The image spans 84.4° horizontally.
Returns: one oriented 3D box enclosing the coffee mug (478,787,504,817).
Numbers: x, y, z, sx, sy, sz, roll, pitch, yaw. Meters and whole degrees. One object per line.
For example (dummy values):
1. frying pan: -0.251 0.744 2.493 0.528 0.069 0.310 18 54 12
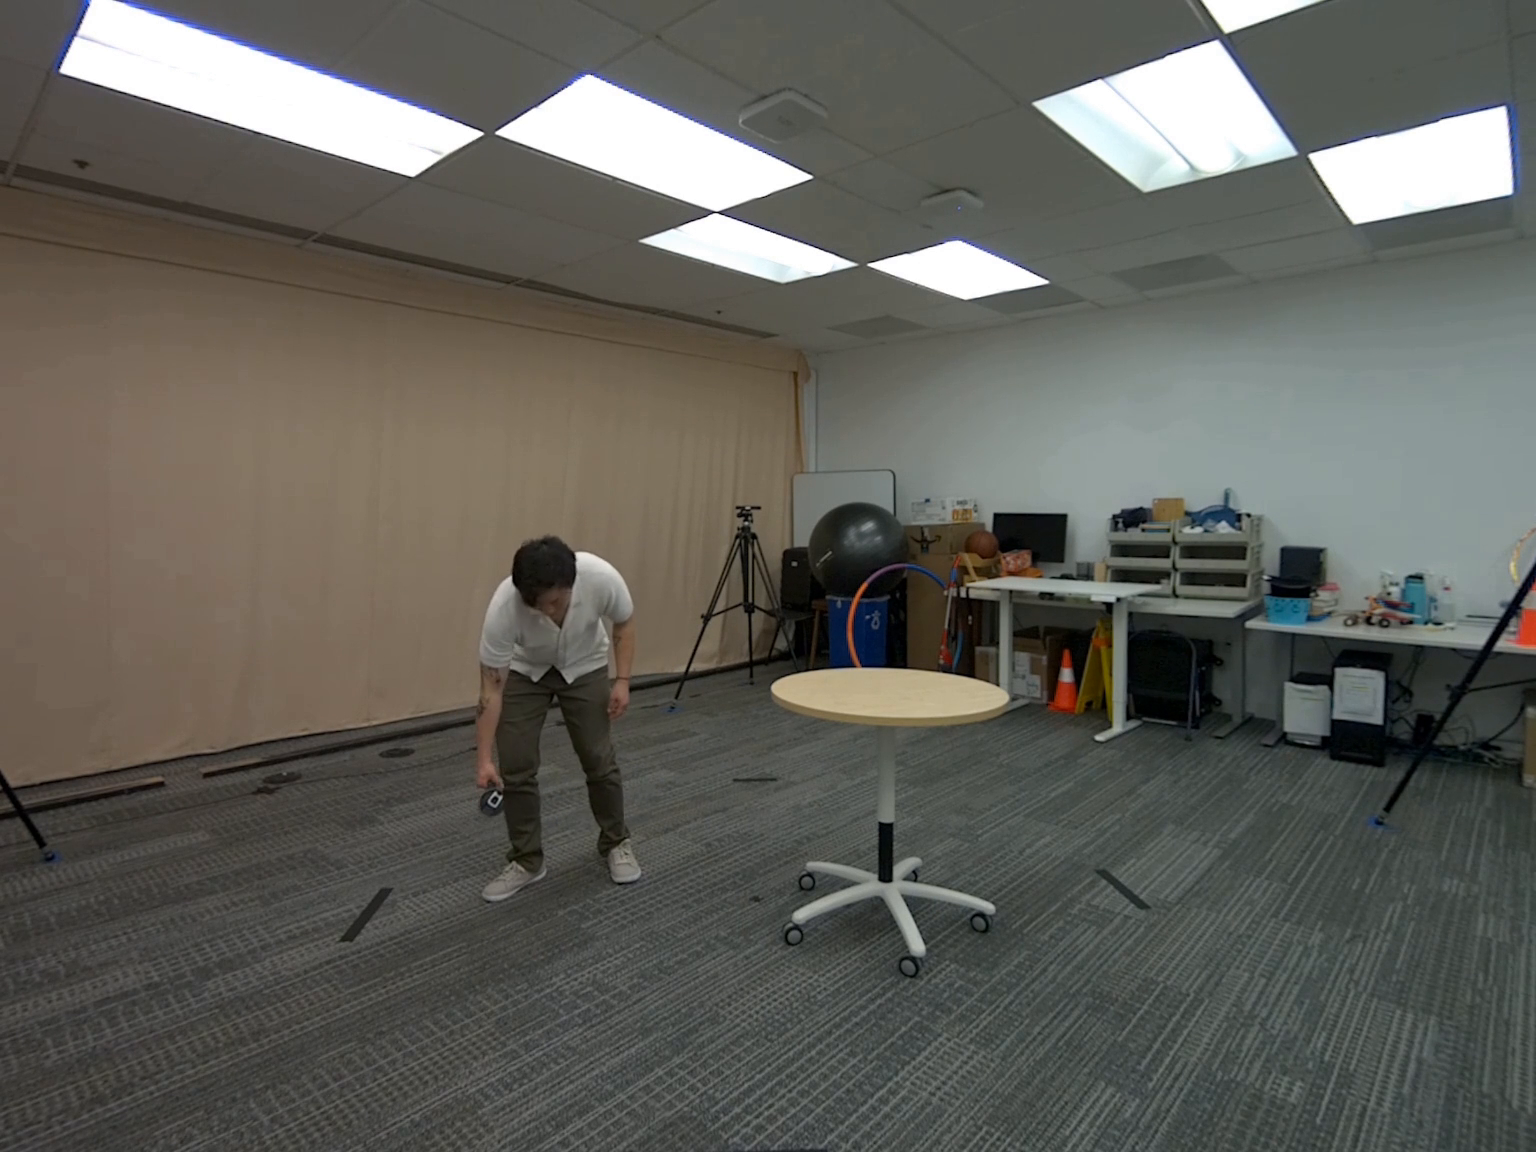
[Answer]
1. coffee mug: -0.930 0.783 2.901 0.120 0.089 0.203 -32 -9 -21
